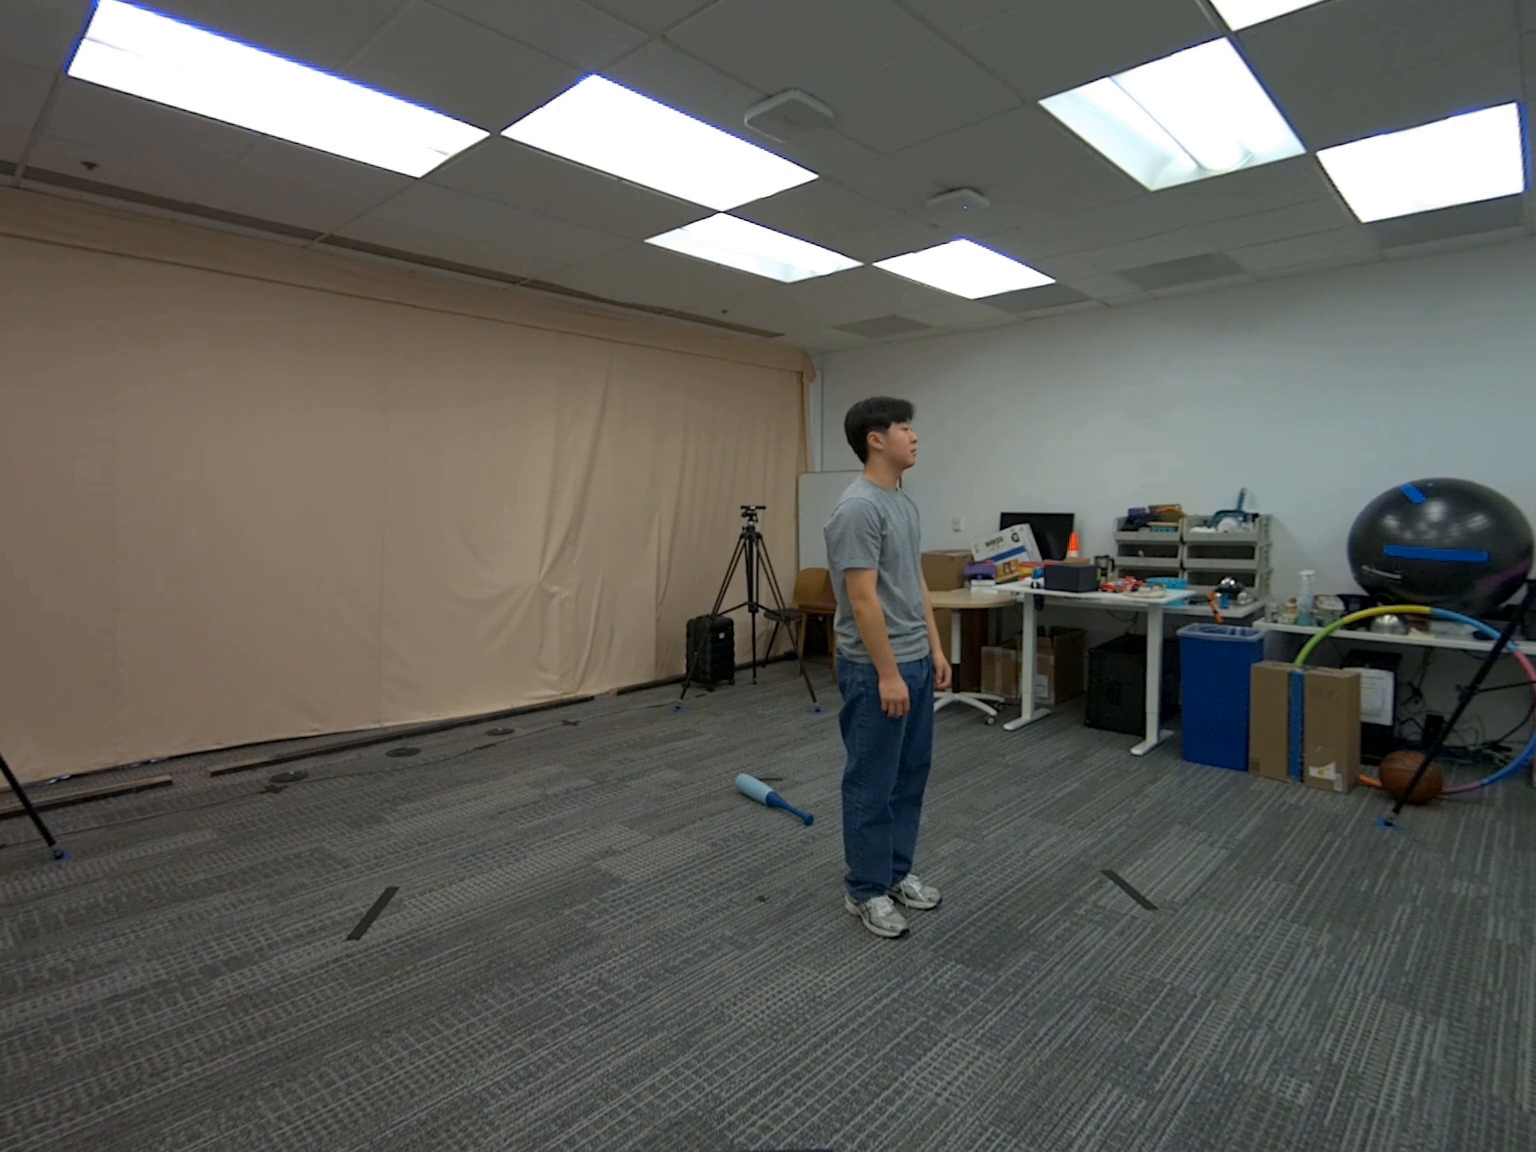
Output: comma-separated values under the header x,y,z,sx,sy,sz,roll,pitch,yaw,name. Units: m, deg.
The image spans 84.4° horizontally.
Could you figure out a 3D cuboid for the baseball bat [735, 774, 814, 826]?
x,y,z,sx,sy,sz,roll,pitch,yaw,name
0.031,1.036,3.891,0.086,0.089,0.561,-3,8,-35,baseball bat
